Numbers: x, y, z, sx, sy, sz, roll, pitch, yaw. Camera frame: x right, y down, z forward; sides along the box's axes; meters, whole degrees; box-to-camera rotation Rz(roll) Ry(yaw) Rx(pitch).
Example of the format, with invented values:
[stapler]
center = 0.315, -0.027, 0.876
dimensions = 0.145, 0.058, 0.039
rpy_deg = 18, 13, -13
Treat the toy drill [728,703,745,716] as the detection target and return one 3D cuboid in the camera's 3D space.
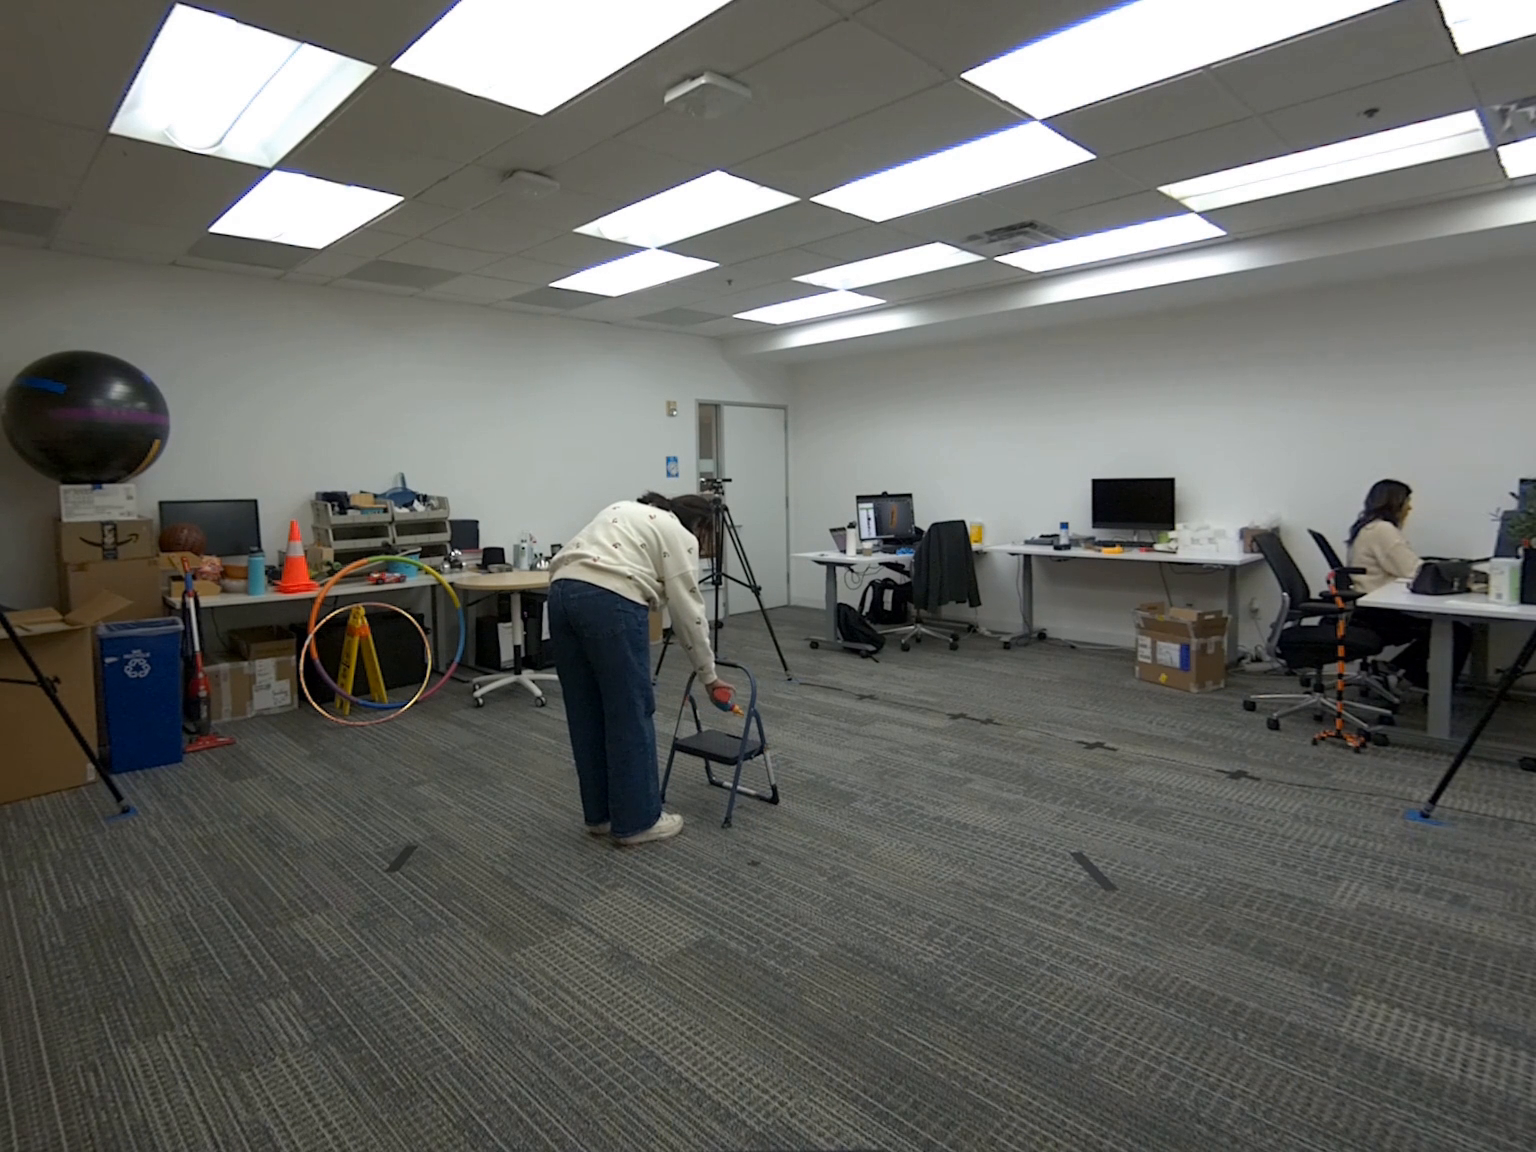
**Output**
[toy drill]
center = -0.156, 0.524, 3.524
dimensions = 0.172, 0.061, 0.143
rpy_deg = 24, -18, 11
